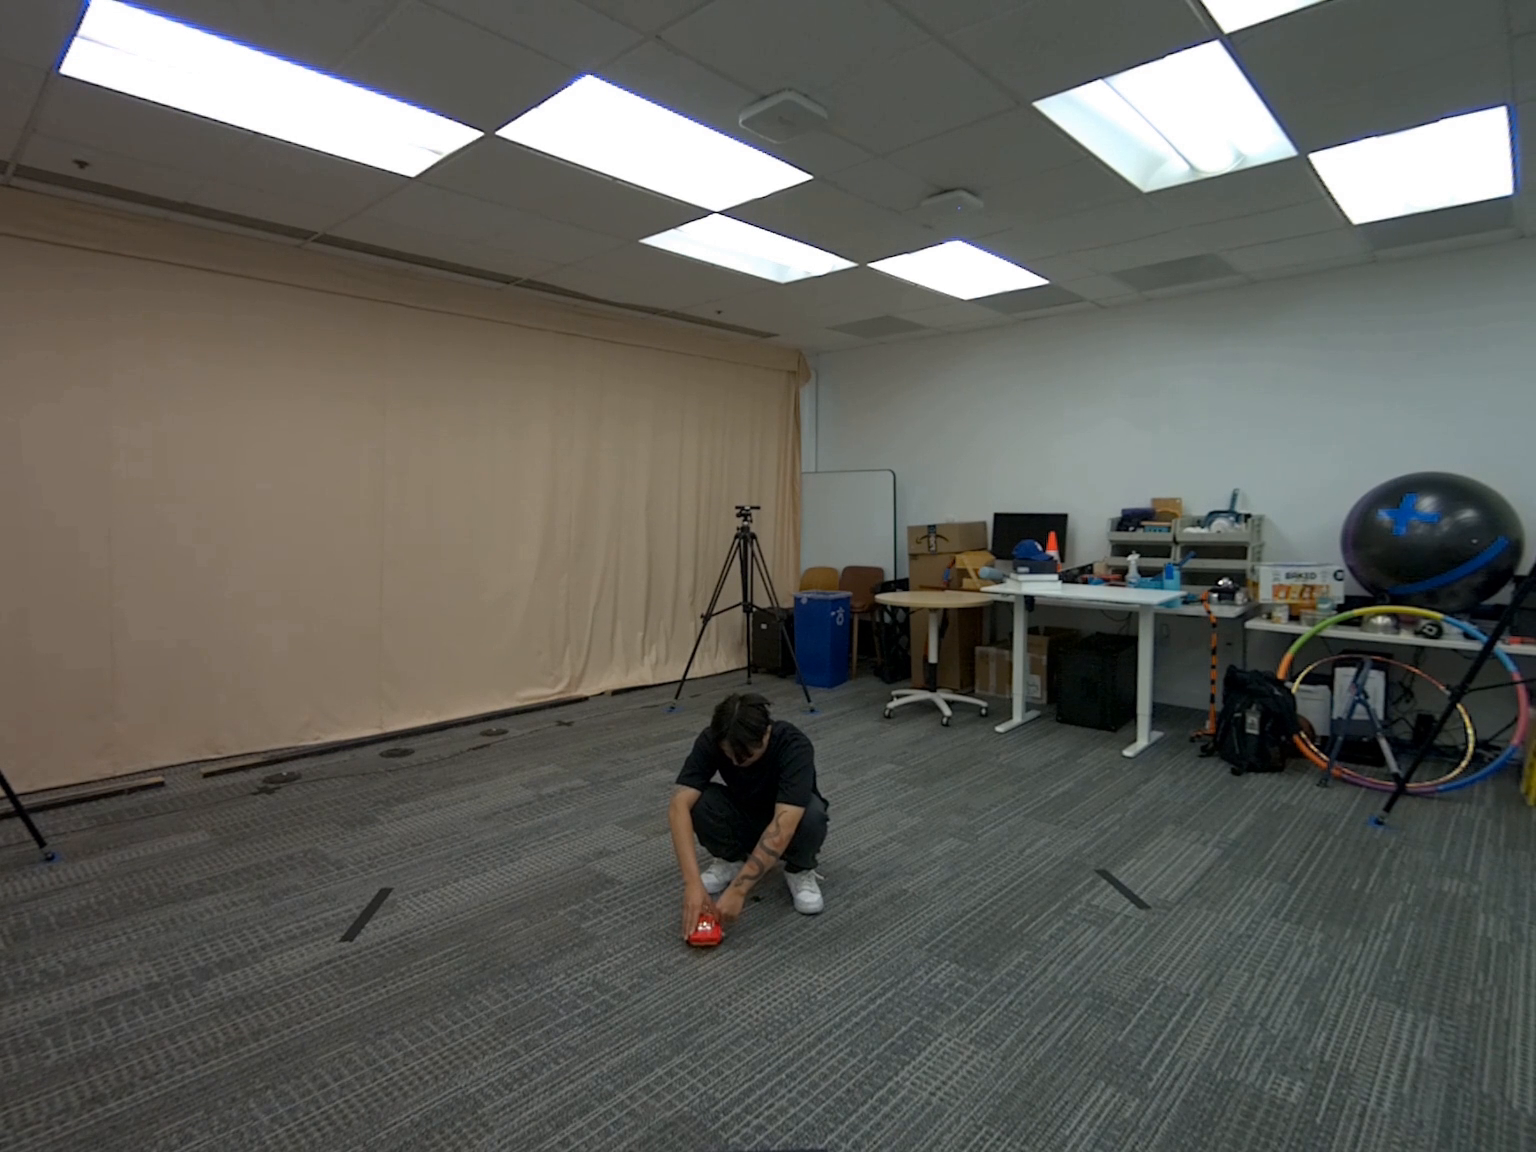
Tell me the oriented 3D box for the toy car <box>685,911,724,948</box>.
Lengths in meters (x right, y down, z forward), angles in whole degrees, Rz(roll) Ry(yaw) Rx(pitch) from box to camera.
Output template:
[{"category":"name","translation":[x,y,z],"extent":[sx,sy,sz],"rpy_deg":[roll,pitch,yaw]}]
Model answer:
[{"category":"toy car","translation":[-0.209,1.132,2.731],"extent":[0.129,0.083,0.255],"rpy_deg":[-2,-5,-6]}]
